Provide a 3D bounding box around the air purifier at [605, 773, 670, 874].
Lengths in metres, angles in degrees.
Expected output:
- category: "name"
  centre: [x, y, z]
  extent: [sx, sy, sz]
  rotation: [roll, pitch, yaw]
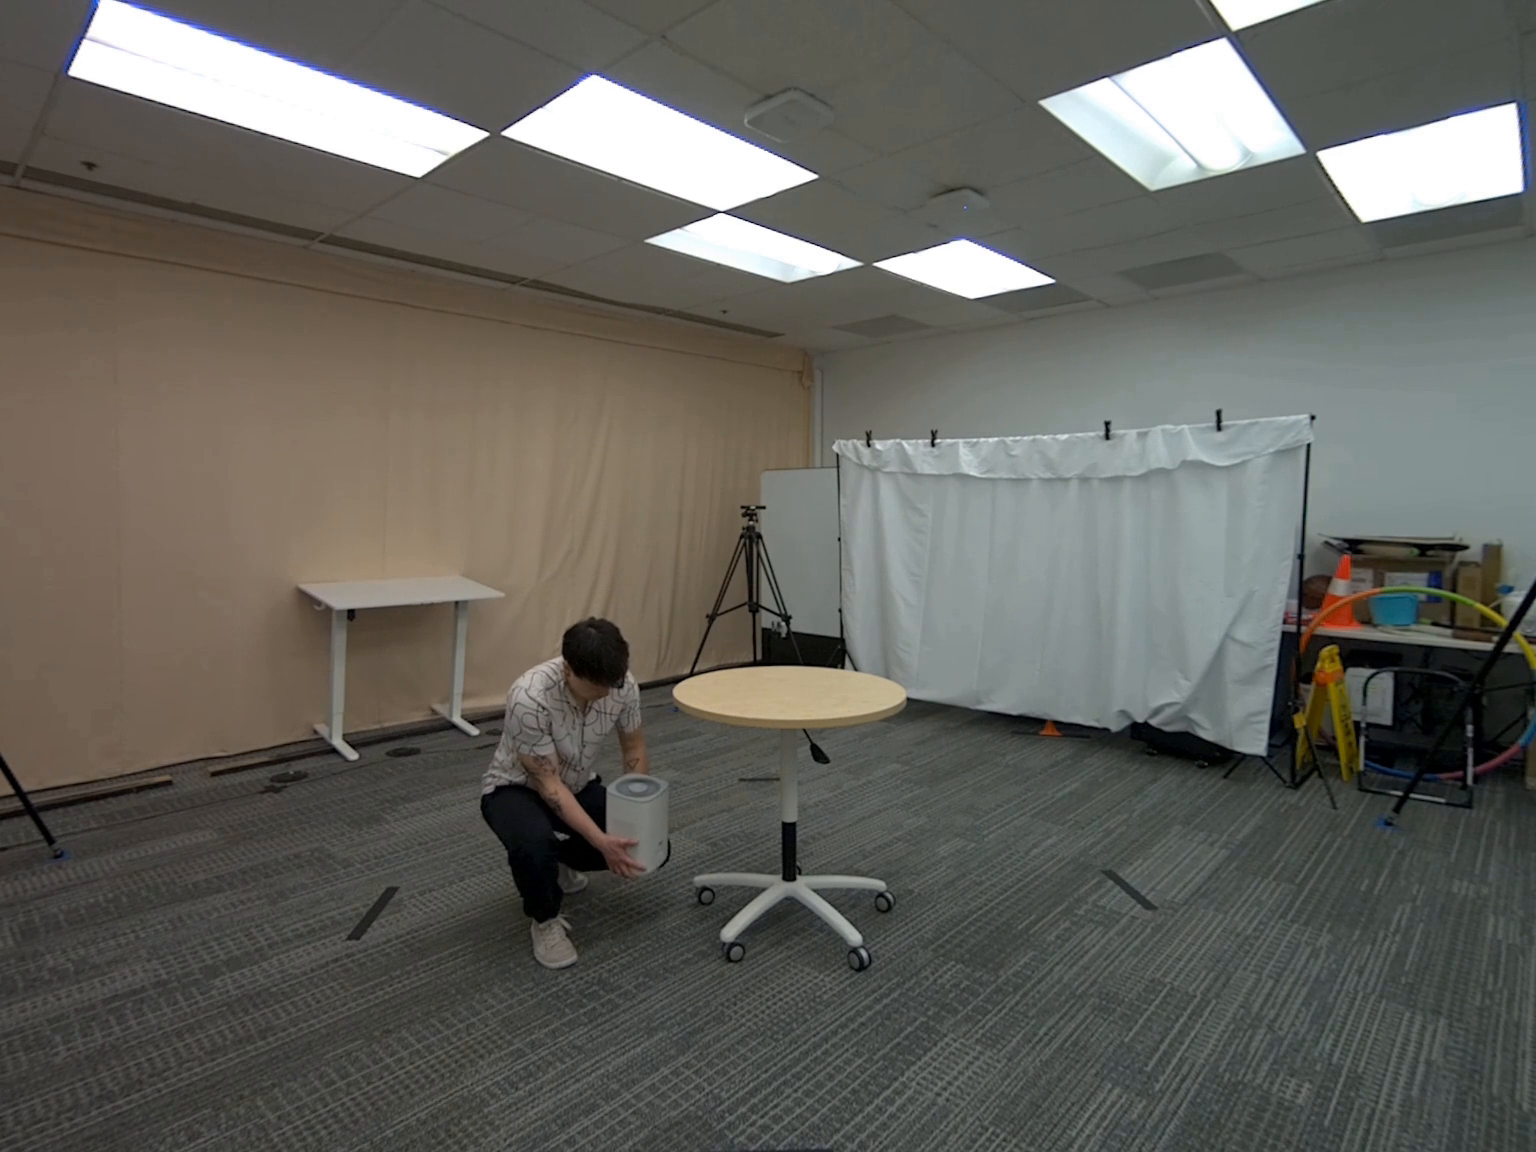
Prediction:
- category: "air purifier"
  centre: [-0.416, 0.792, 2.646]
  extent: [0.175, 0.264, 0.168]
  rotation: [8, 10, 17]
